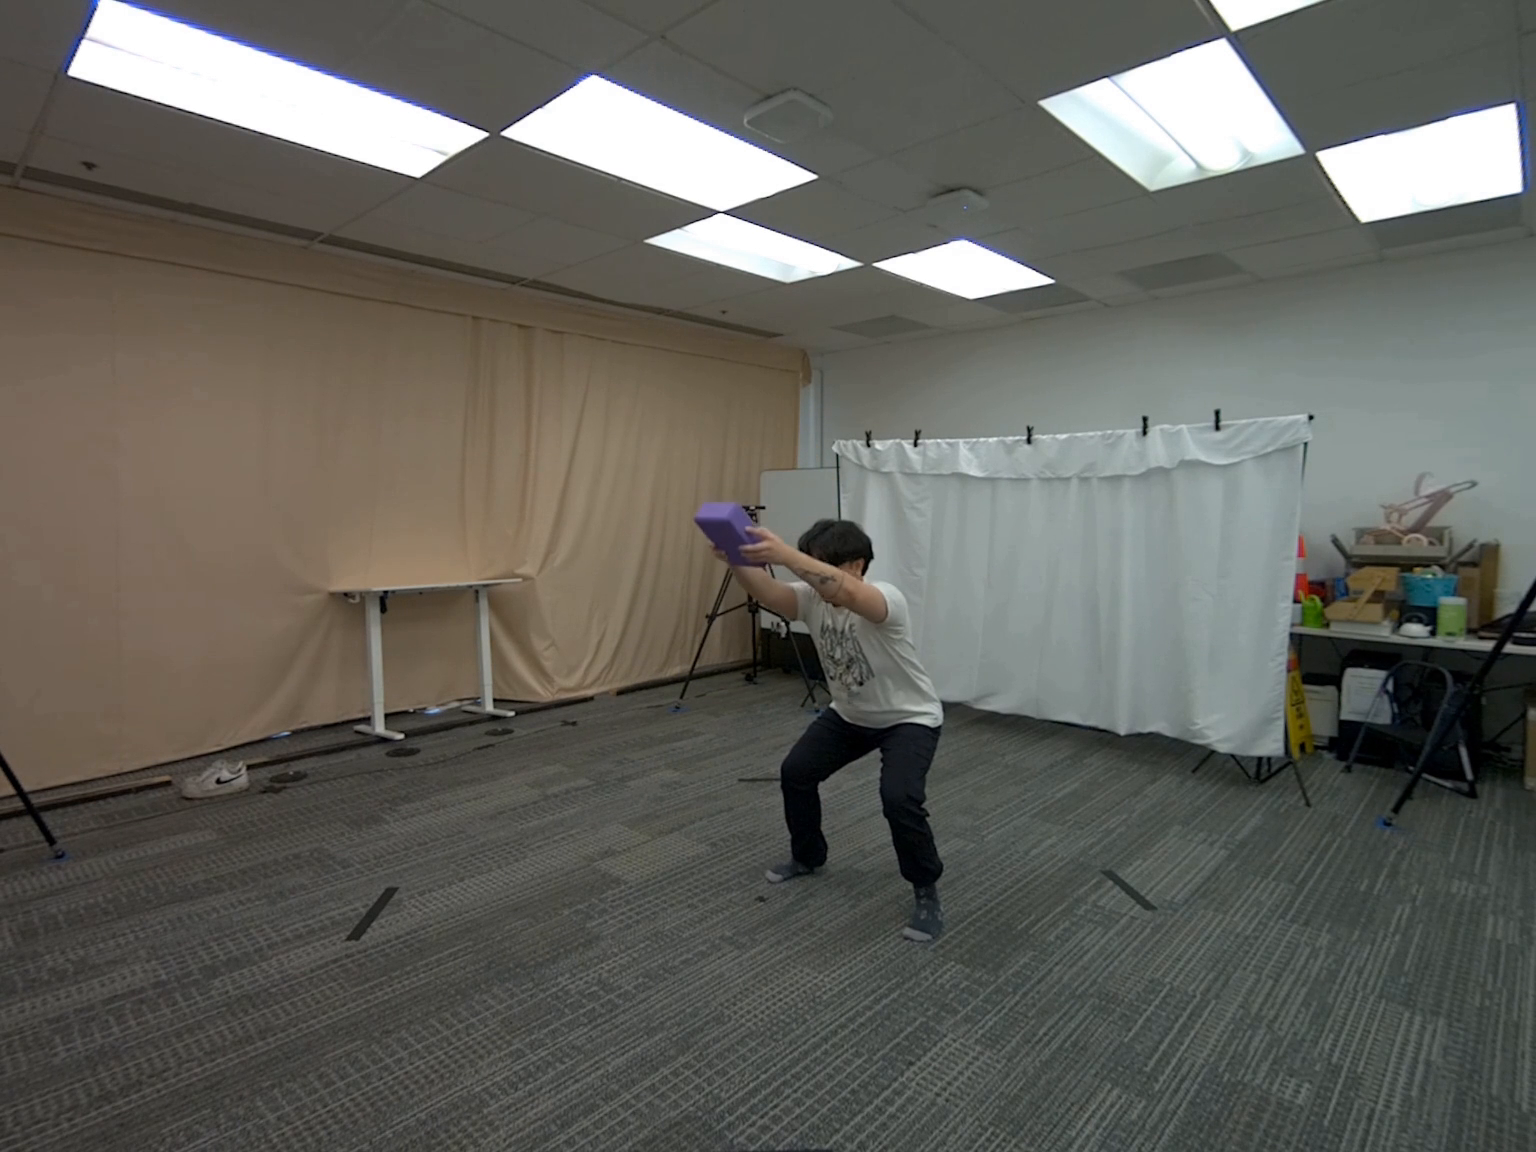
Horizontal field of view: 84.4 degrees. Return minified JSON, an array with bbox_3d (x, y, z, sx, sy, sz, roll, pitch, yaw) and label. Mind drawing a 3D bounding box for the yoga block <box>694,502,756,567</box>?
[{"bbox_3d":[-0.096,-0.124,2.531,0.154,0.076,0.222,4,-36,43],"label":"yoga block"}]
